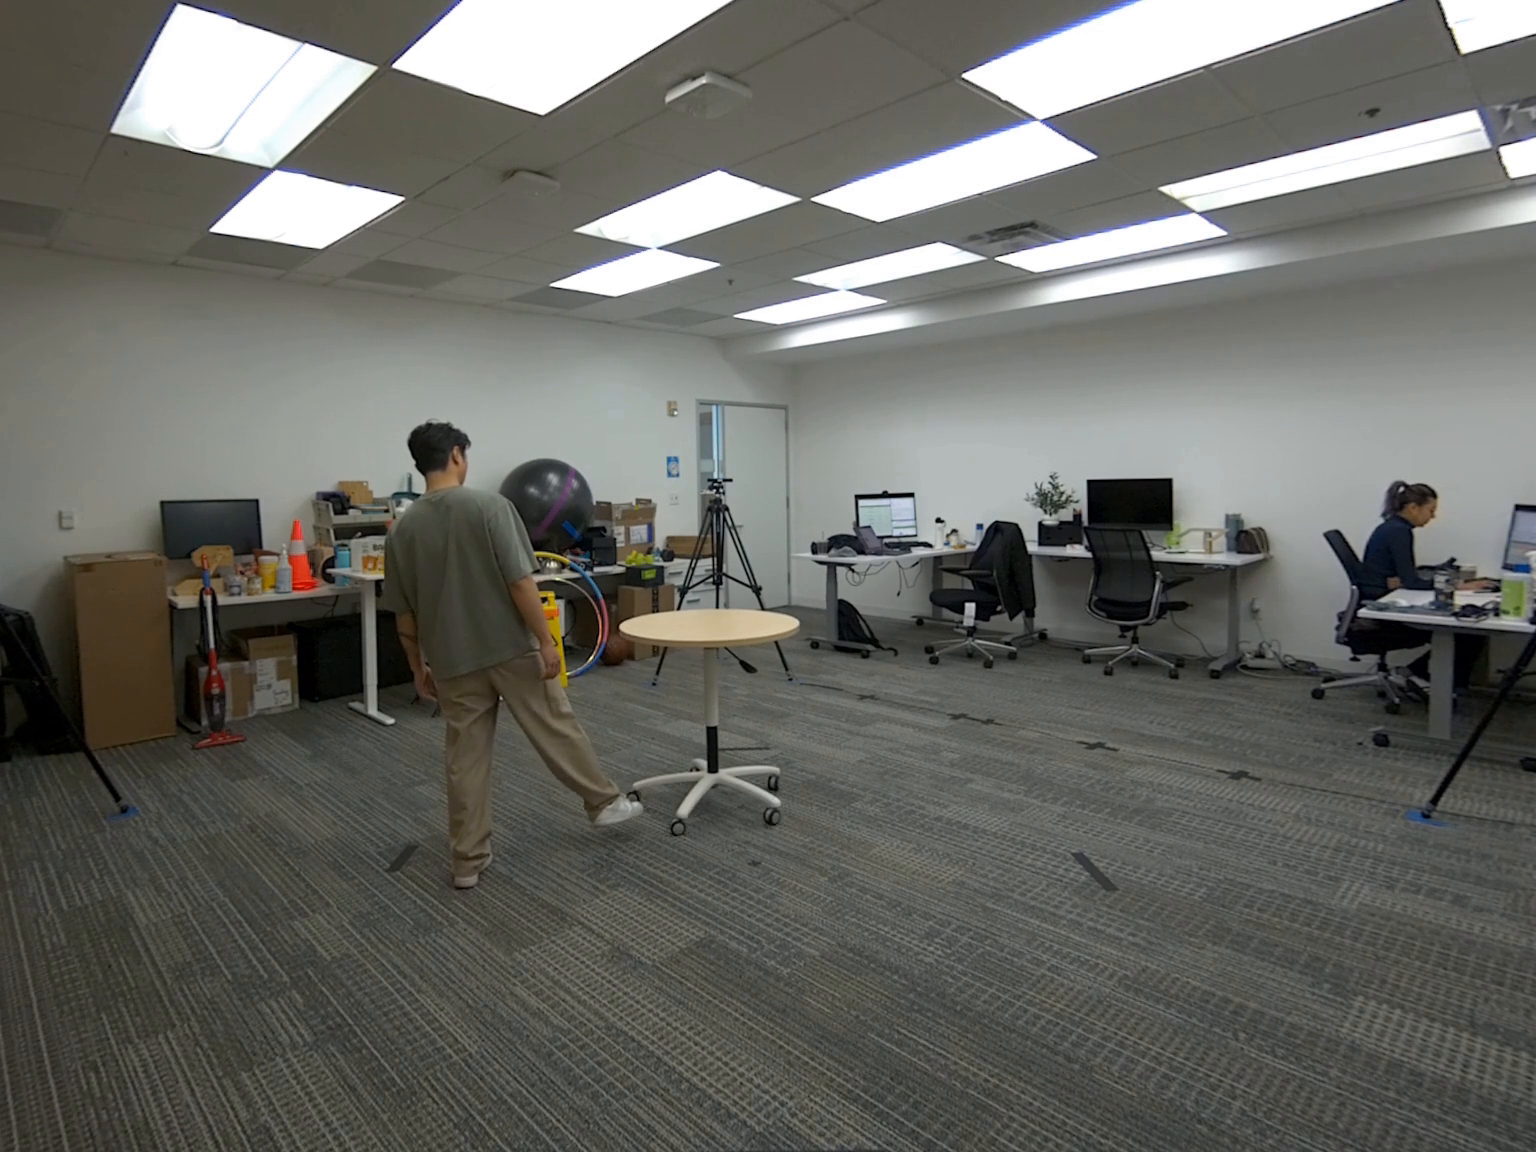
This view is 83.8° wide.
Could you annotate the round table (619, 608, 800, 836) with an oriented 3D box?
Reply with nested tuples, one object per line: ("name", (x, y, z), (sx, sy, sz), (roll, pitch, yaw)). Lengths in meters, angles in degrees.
("round table", (-0.235, 0.592, 3.643), (0.784, 0.783, 0.789), (-1, 5, -2))
